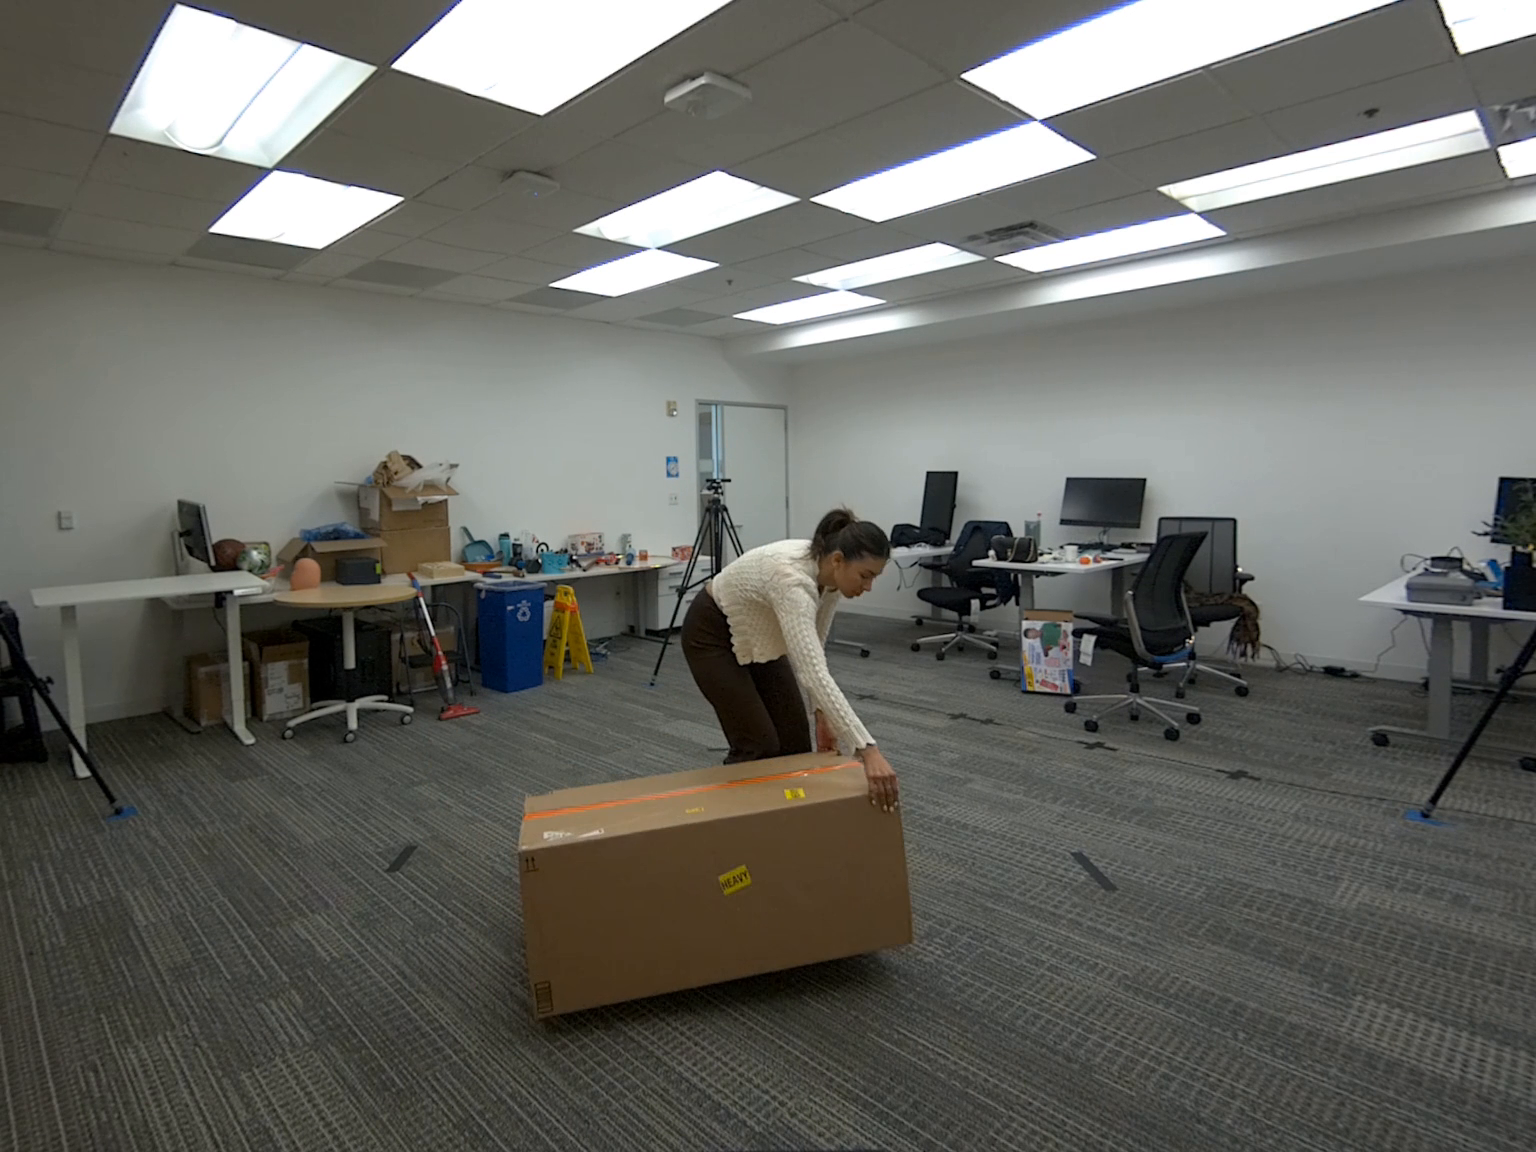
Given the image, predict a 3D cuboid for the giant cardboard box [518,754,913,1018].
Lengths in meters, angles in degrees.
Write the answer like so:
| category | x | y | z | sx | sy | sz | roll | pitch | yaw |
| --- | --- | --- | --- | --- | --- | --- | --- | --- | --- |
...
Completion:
| category | x | y | z | sx | sy | sz | roll | pitch | yaw |
| --- | --- | --- | --- | --- | --- | --- | --- | --- | --- |
| giant cardboard box | -0.192 | 0.843 | 2.503 | 1.016 | 0.426 | 0.583 | -5 | 1 | -11 |
